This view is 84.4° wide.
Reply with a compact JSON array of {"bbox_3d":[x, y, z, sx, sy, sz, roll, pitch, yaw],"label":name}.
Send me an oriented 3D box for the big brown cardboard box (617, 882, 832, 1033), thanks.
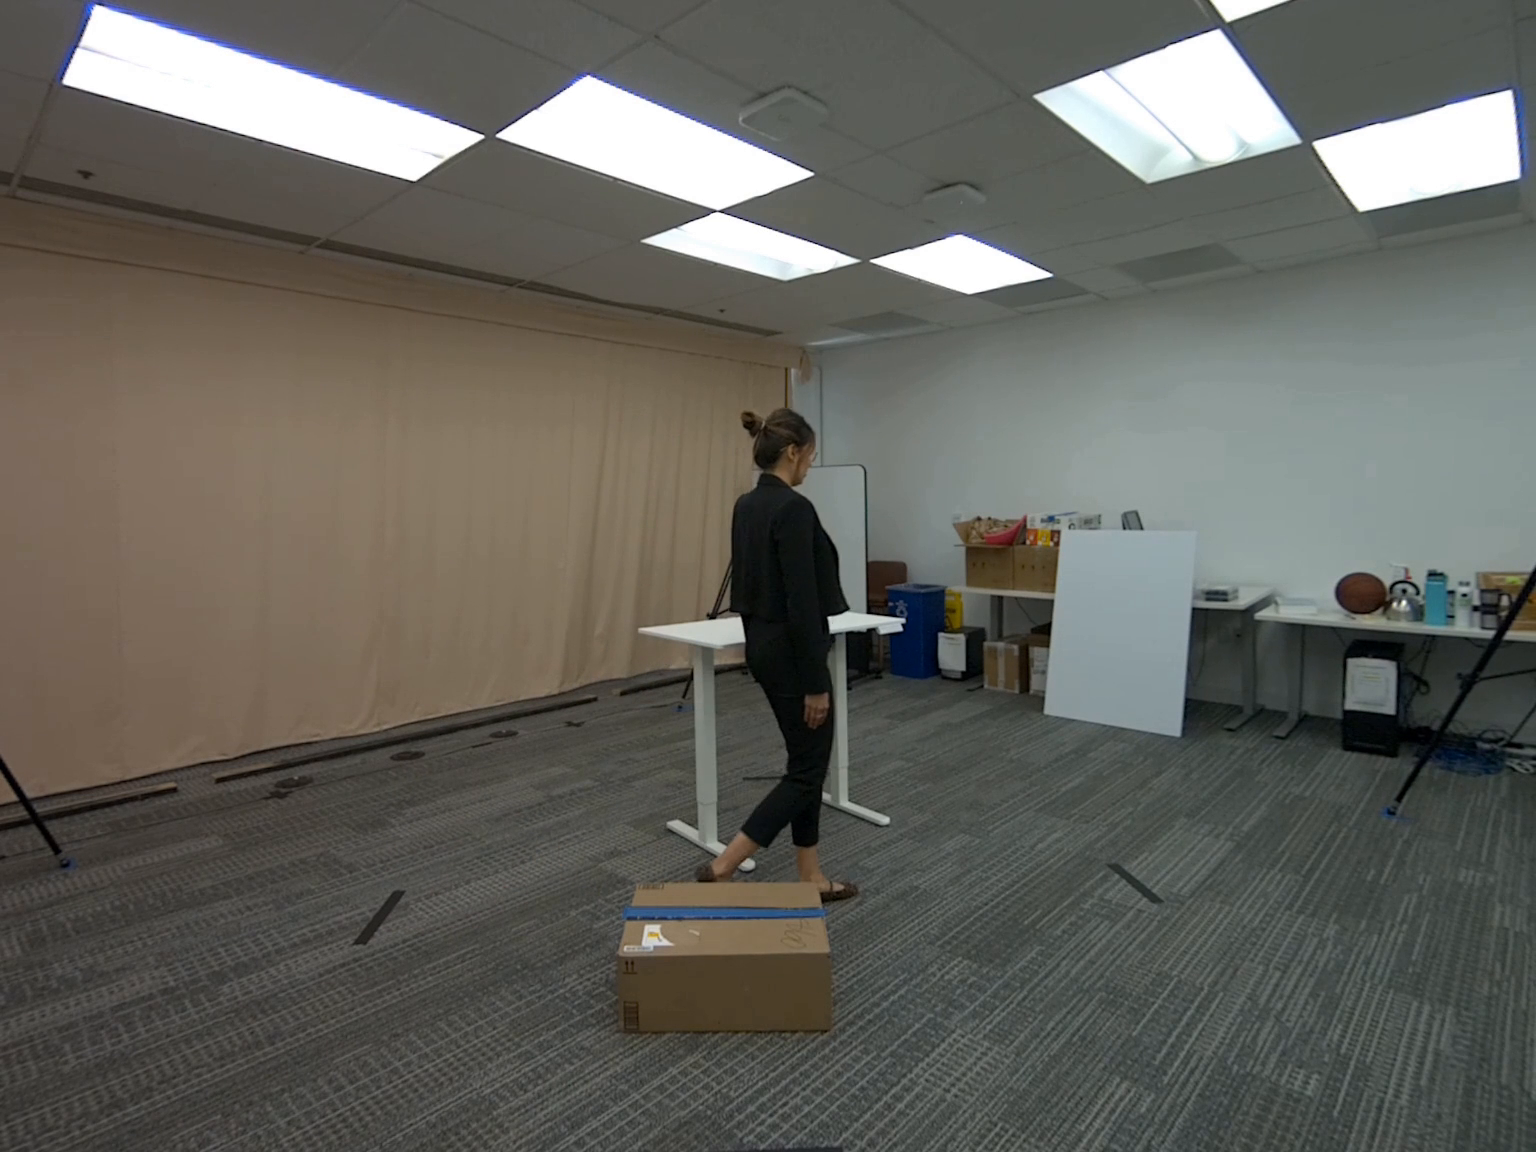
[{"bbox_3d":[-0.124,1.078,2.421,0.589,0.232,0.419,0,5,-1],"label":"big brown cardboard box"}]
